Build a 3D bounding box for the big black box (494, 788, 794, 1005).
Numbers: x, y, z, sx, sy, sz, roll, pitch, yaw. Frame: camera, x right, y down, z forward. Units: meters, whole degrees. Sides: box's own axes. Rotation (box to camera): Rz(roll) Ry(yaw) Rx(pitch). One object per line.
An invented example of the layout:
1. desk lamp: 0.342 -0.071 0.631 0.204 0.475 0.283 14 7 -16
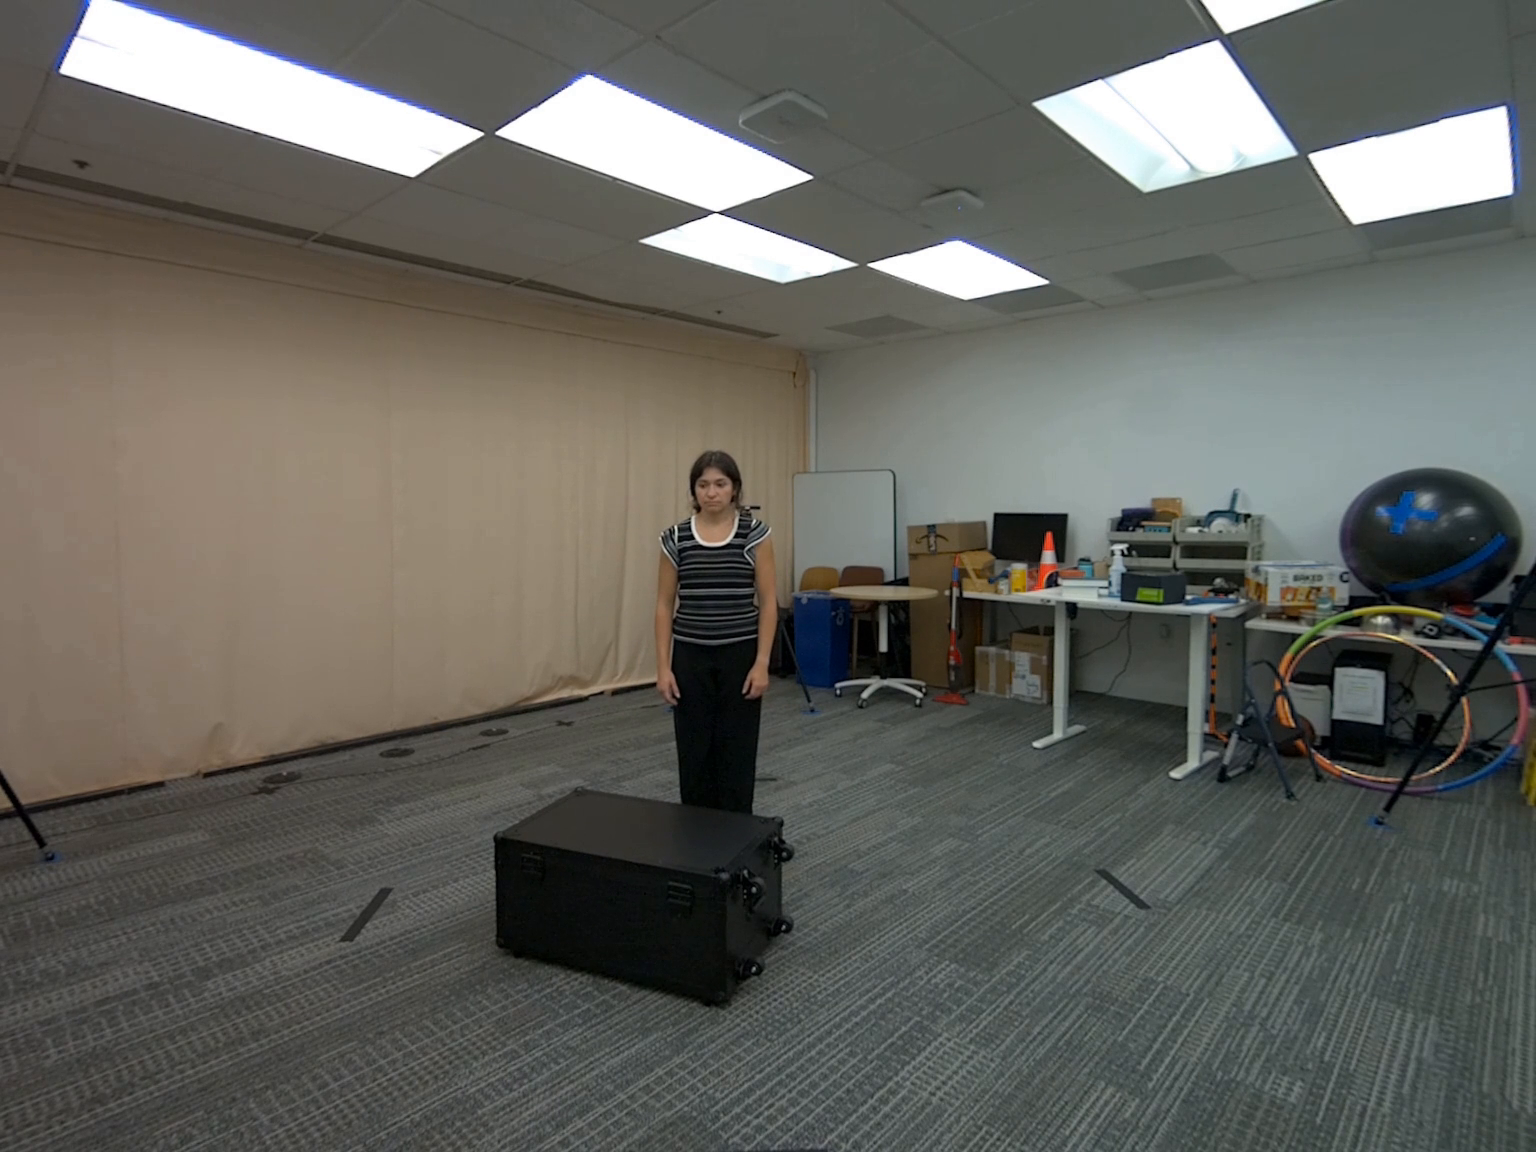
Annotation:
1. big black box: -0.367 0.982 2.664 0.881 0.395 0.510 1 3 22
